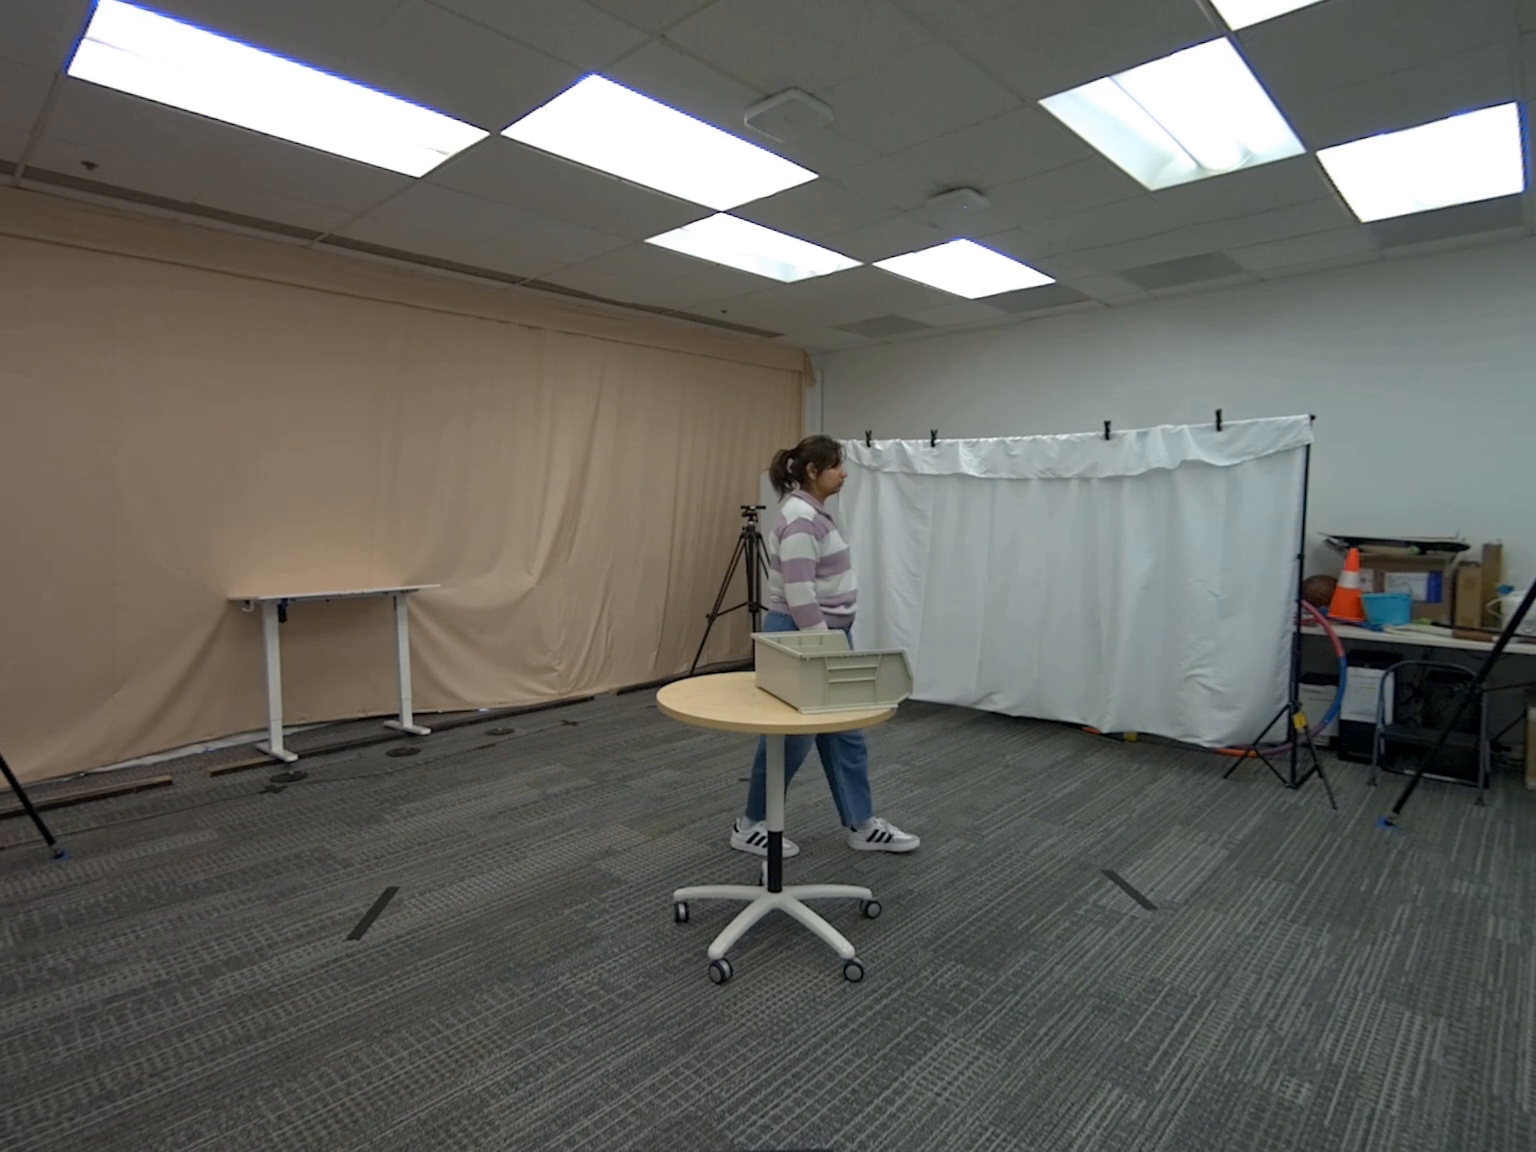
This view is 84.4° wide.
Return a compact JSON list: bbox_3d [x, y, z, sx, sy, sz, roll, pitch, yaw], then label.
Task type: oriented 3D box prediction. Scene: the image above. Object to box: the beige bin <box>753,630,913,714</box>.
[{"bbox_3d":[0.190,0.296,2.690,0.370,0.188,0.431,-2,5,-18],"label":"beige bin"}]
